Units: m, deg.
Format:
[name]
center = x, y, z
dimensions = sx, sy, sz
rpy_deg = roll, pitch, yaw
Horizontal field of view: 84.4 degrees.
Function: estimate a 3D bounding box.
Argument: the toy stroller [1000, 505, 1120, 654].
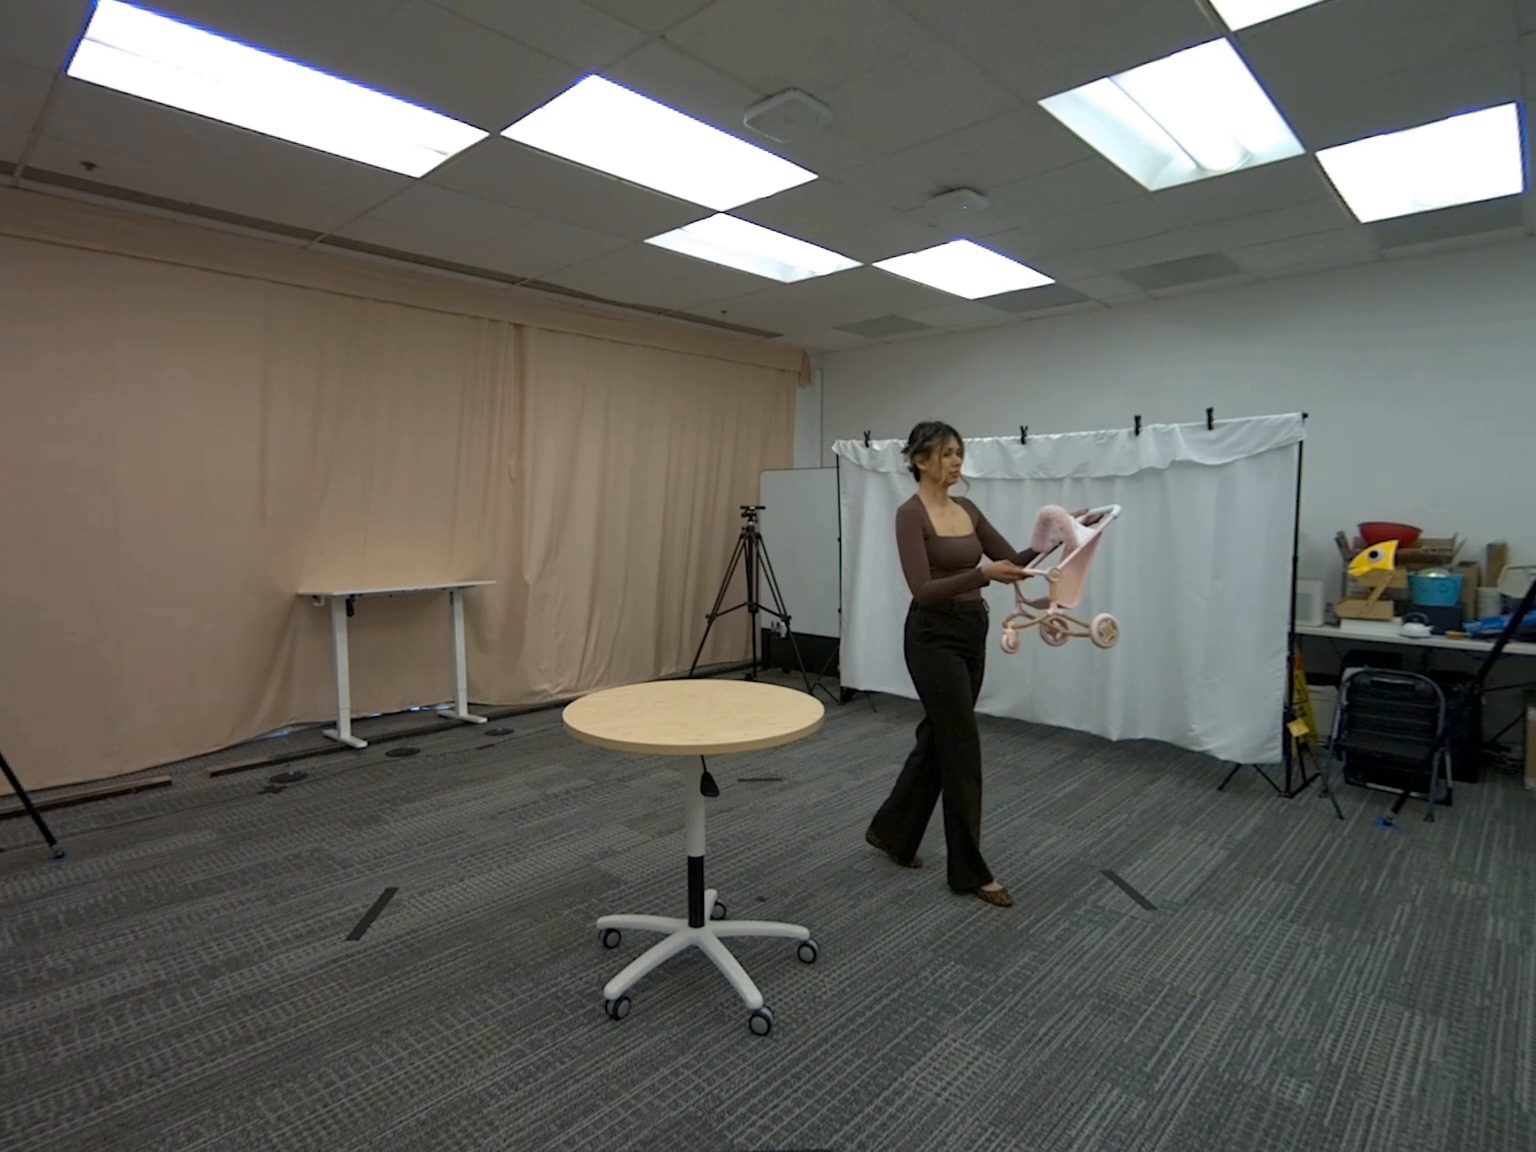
[toy stroller]
center = 0.918, 0.009, 2.755
dimensions = 0.338, 0.537, 0.283
rpy_deg = 10, -7, -9
